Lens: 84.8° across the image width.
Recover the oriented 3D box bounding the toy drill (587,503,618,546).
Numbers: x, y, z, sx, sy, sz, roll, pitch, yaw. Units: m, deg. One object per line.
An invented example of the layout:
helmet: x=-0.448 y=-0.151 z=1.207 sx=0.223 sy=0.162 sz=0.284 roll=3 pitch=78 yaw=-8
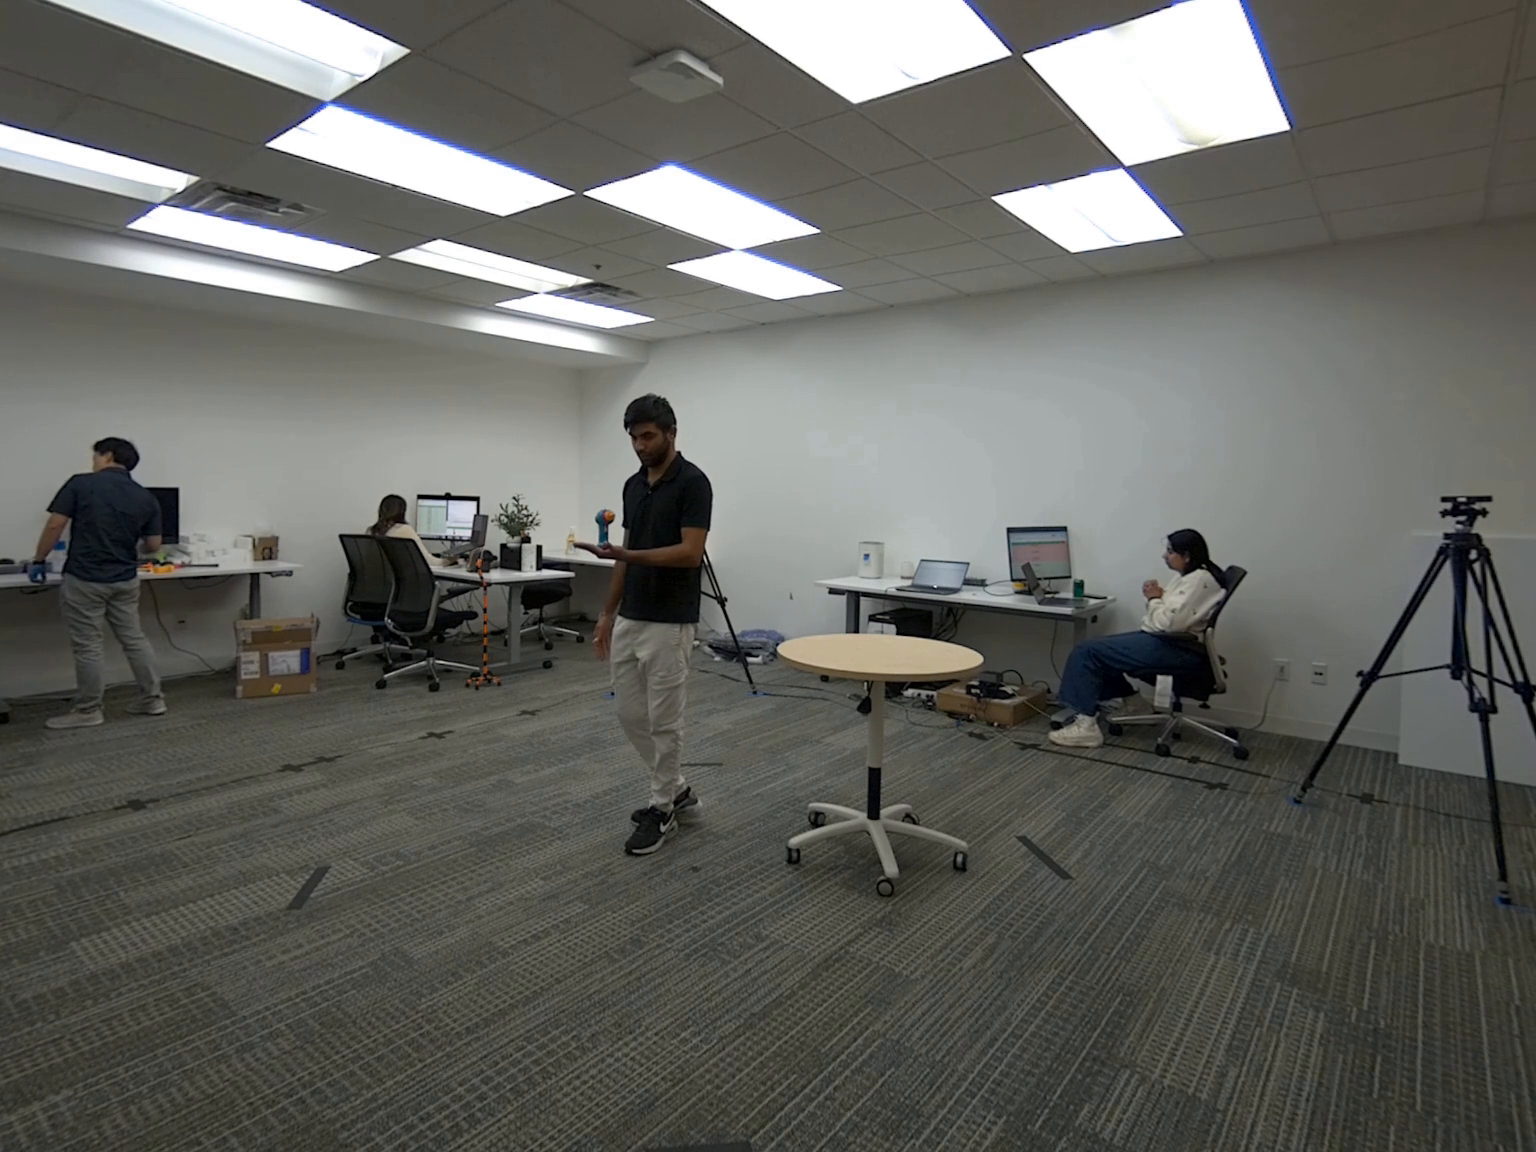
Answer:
toy drill: x=-0.606 y=-0.177 z=3.055 sx=0.060 sy=0.146 sz=0.172 roll=-8 pitch=-2 yaw=-20
